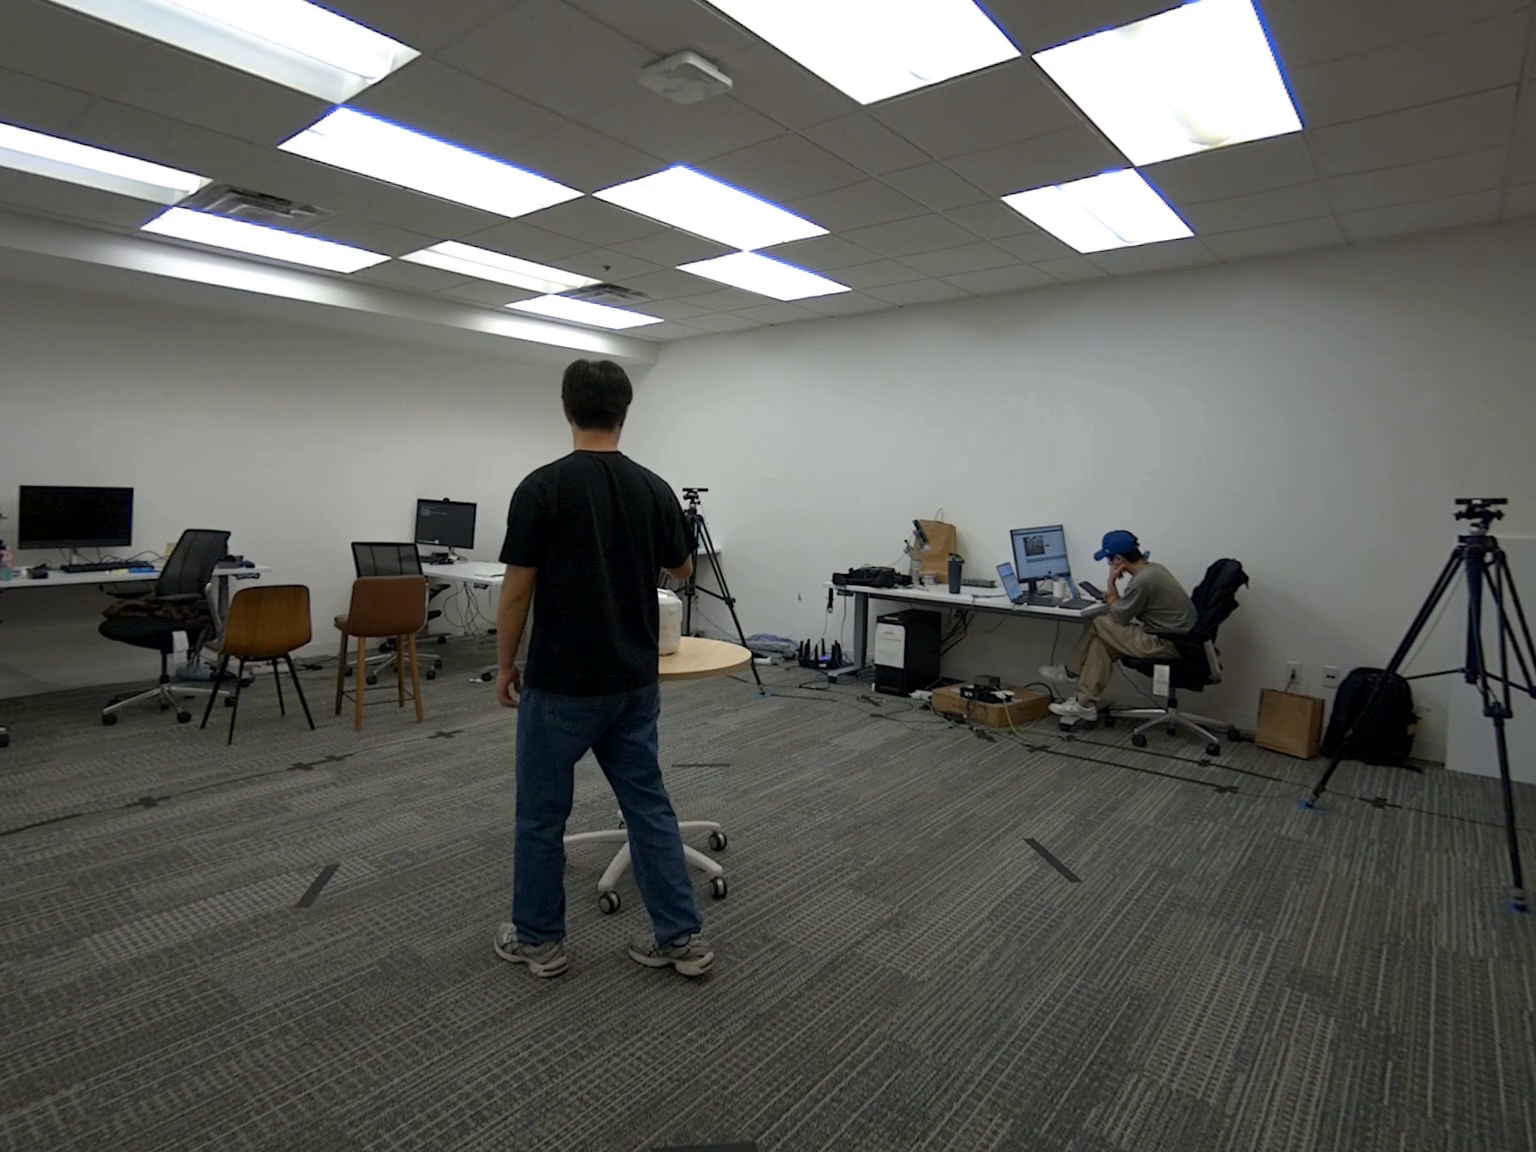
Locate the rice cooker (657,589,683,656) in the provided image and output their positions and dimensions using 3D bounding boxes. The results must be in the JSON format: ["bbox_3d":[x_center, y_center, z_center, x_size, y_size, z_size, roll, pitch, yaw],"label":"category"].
[{"bbox_3d":[-0.428,0.155,3.080,0.221,0.232,0.218,1,4,2],"label":"rice cooker"}]
